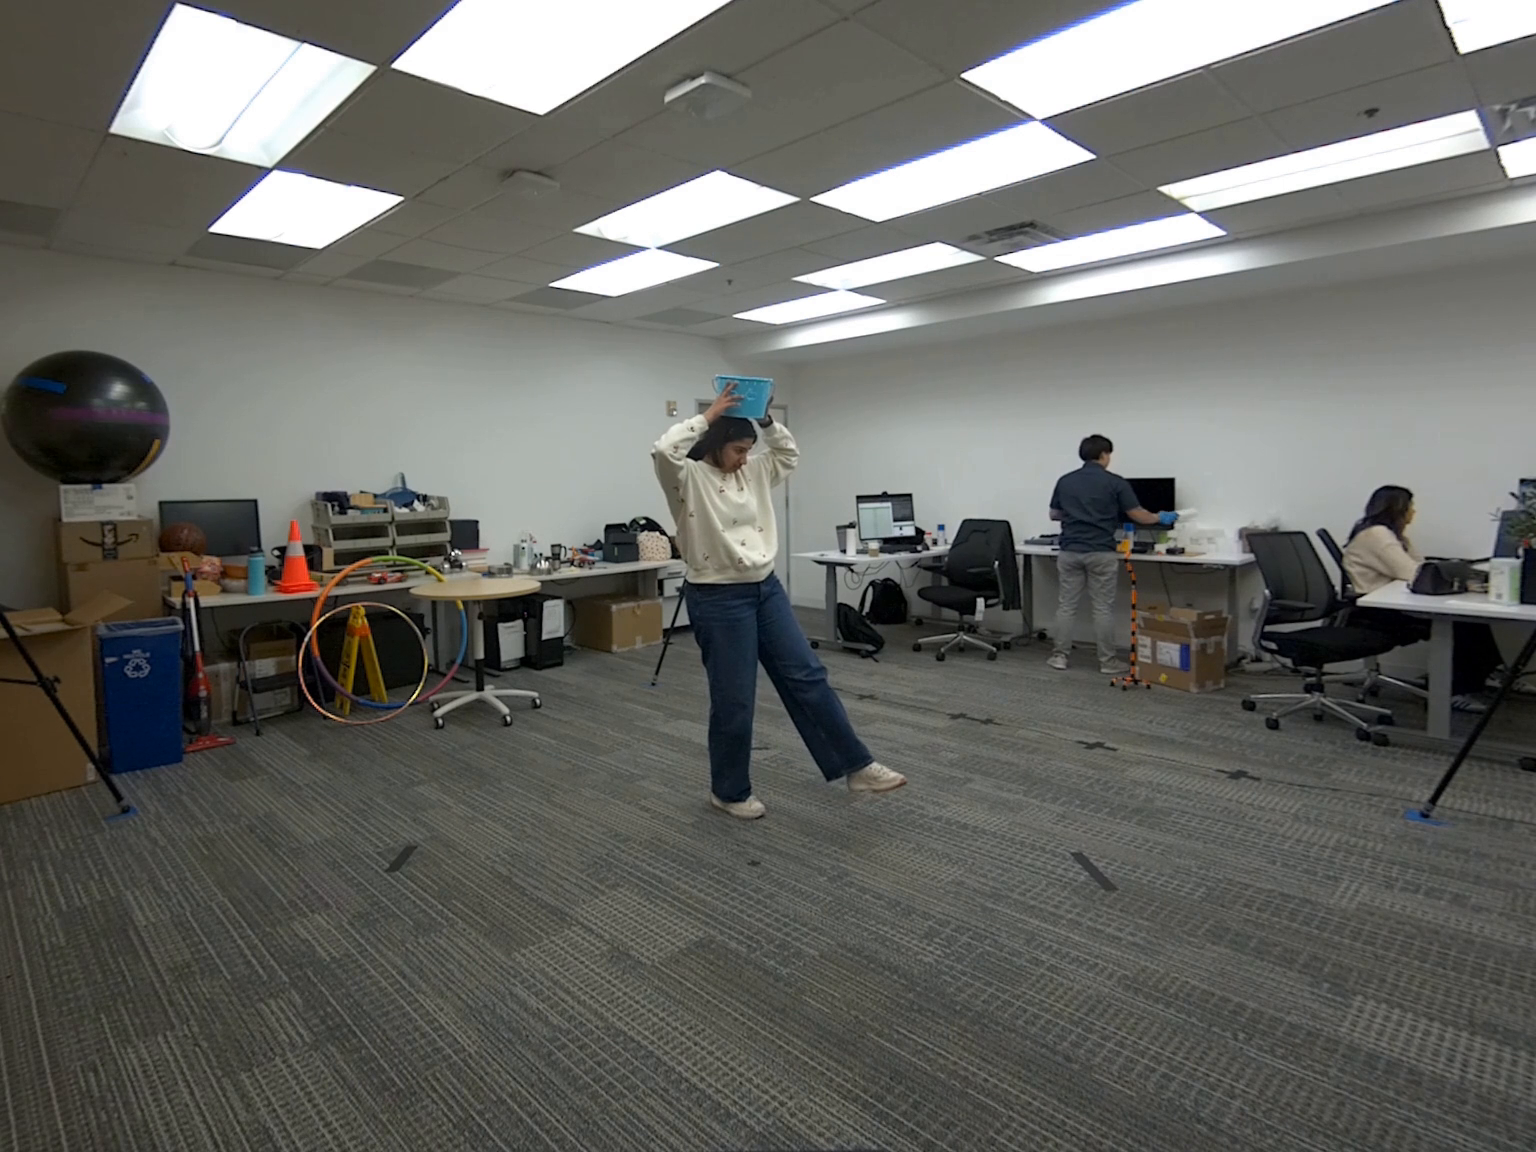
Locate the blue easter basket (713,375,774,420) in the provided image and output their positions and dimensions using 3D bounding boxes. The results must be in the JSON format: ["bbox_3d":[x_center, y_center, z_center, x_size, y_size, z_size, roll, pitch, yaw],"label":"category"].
[{"bbox_3d":[-0.094,-0.717,3.414,0.243,0.154,0.246,3,13,-2],"label":"blue easter basket"}]
